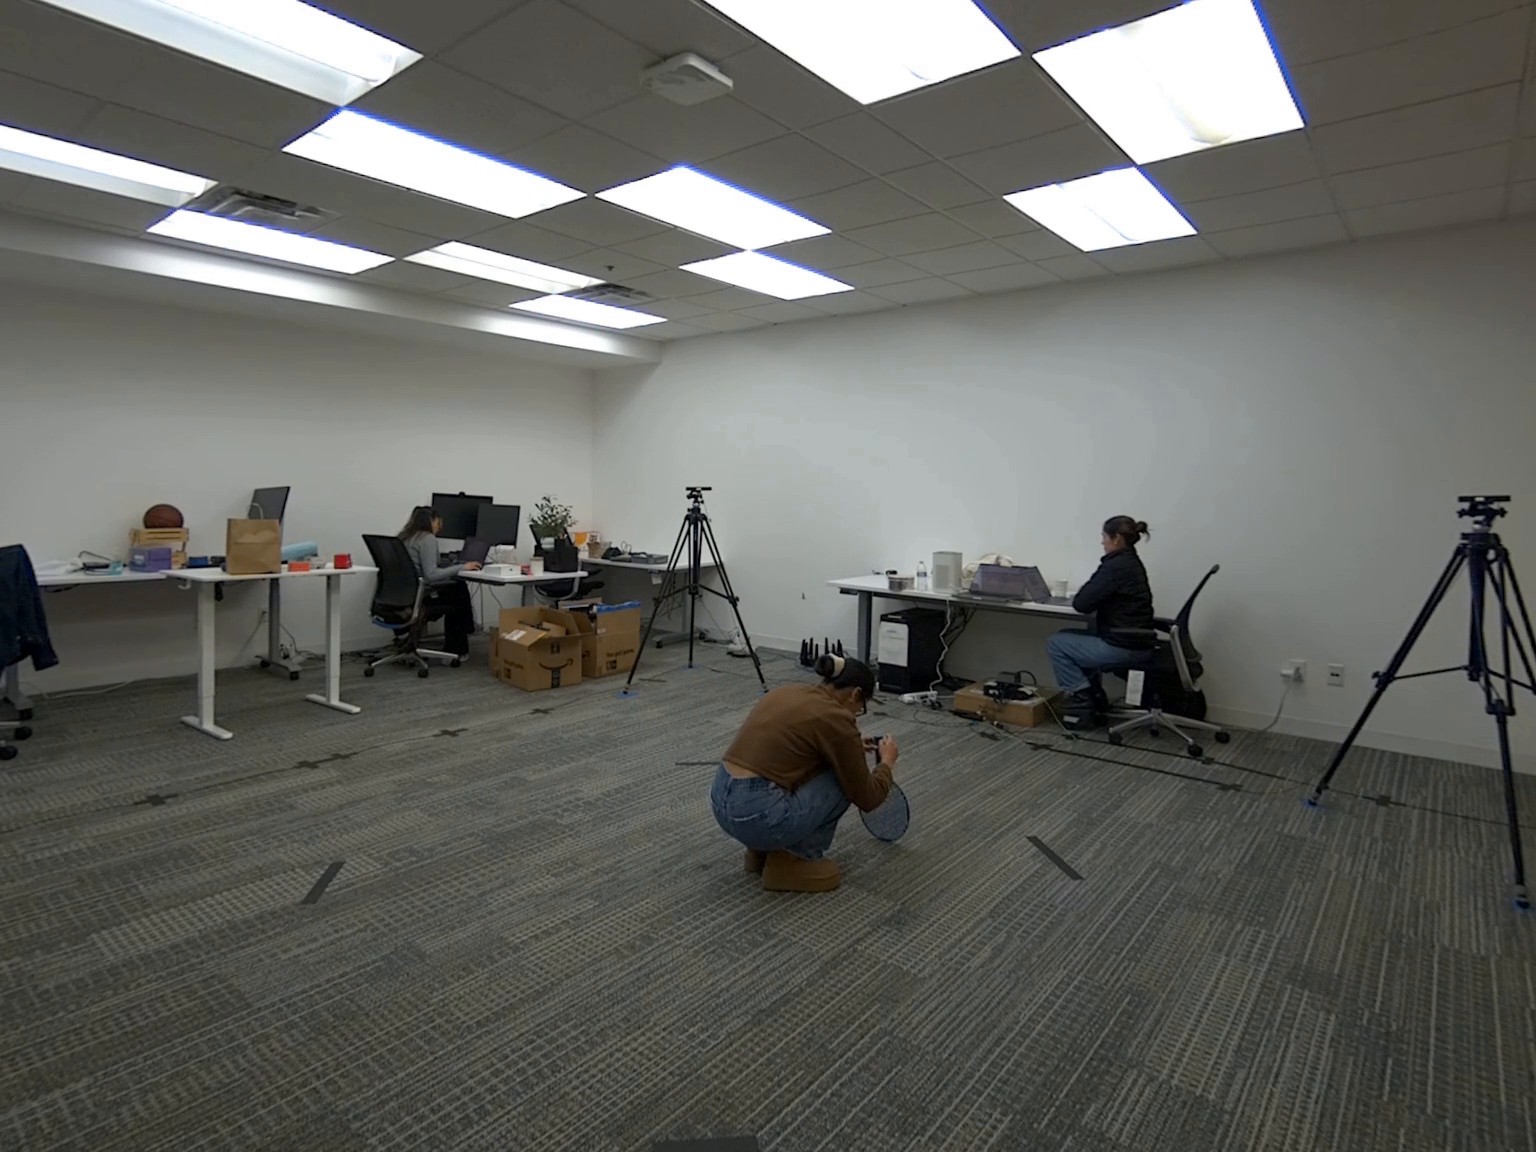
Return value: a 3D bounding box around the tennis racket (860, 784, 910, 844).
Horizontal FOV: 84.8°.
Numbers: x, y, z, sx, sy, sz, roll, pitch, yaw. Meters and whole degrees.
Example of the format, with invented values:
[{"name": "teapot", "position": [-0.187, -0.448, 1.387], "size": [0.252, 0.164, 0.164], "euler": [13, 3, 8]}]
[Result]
[{"name": "tennis racket", "position": [0.444, 0.835, 3.363], "size": [0.219, 0.430, 0.031], "euler": [1, 8, 29]}]
